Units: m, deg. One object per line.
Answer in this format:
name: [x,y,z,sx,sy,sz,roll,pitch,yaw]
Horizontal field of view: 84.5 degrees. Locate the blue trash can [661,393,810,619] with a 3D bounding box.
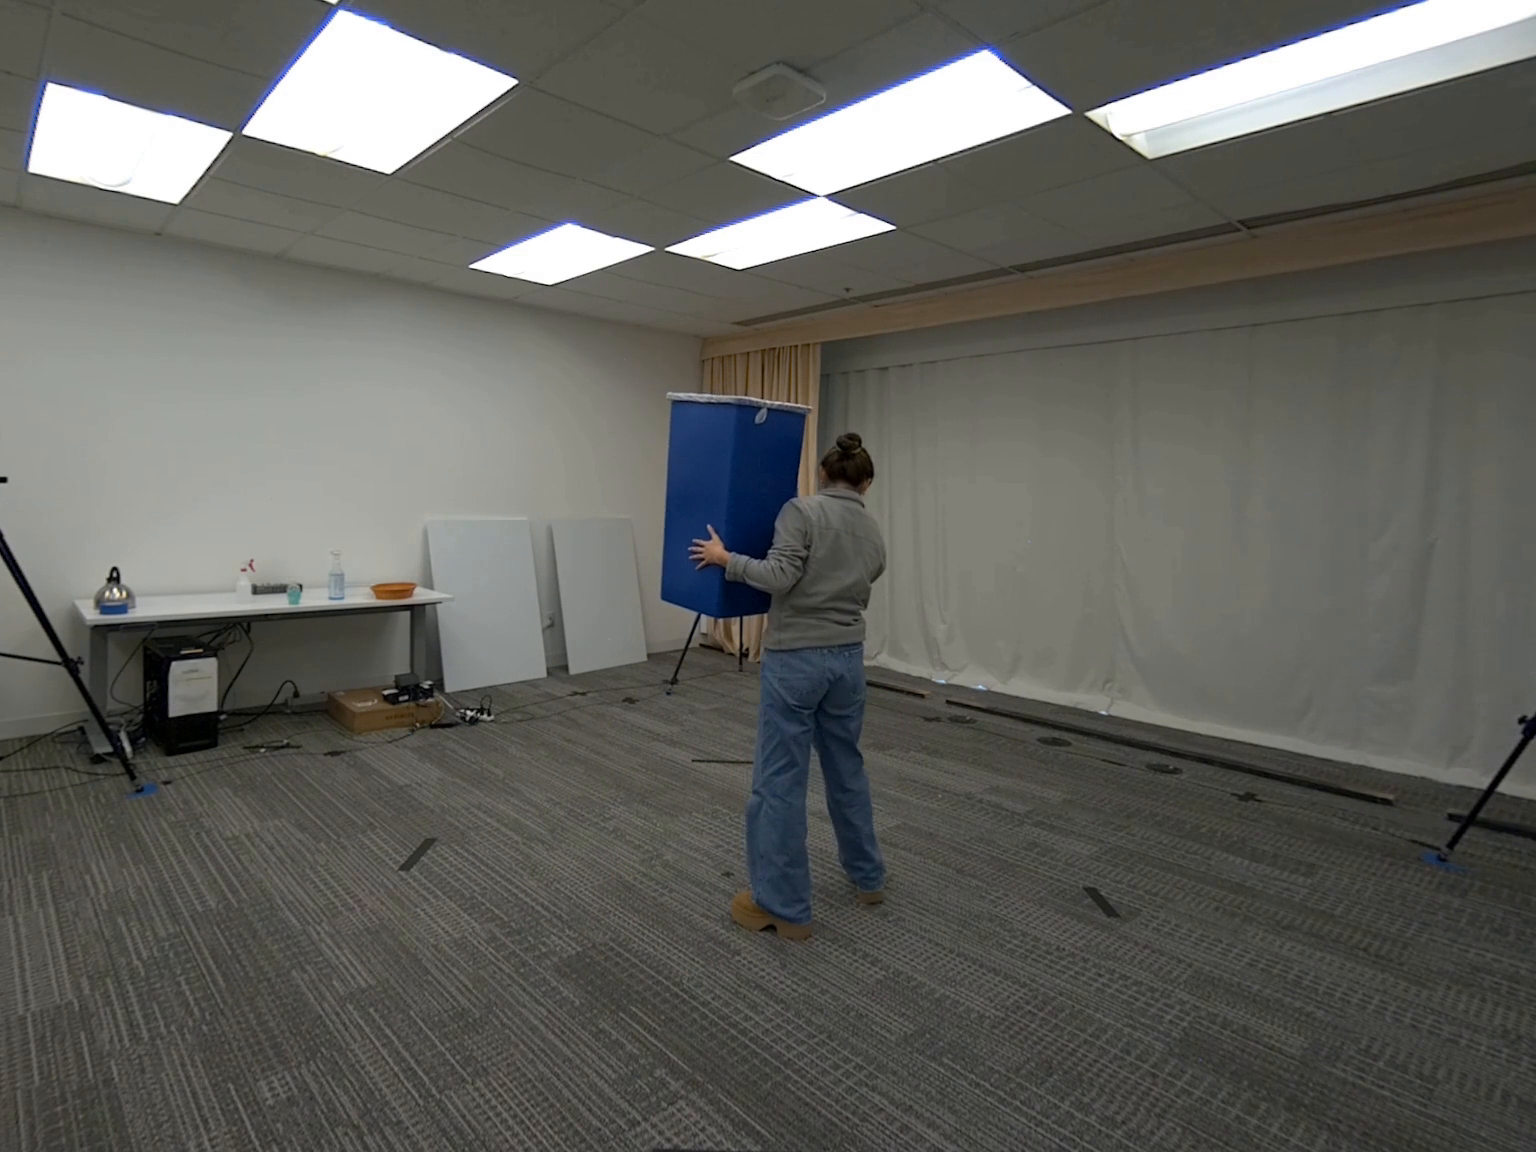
blue trash can: [-0.142,-0.253,2.892,0.385,0.710,0.369,14,11,43]
